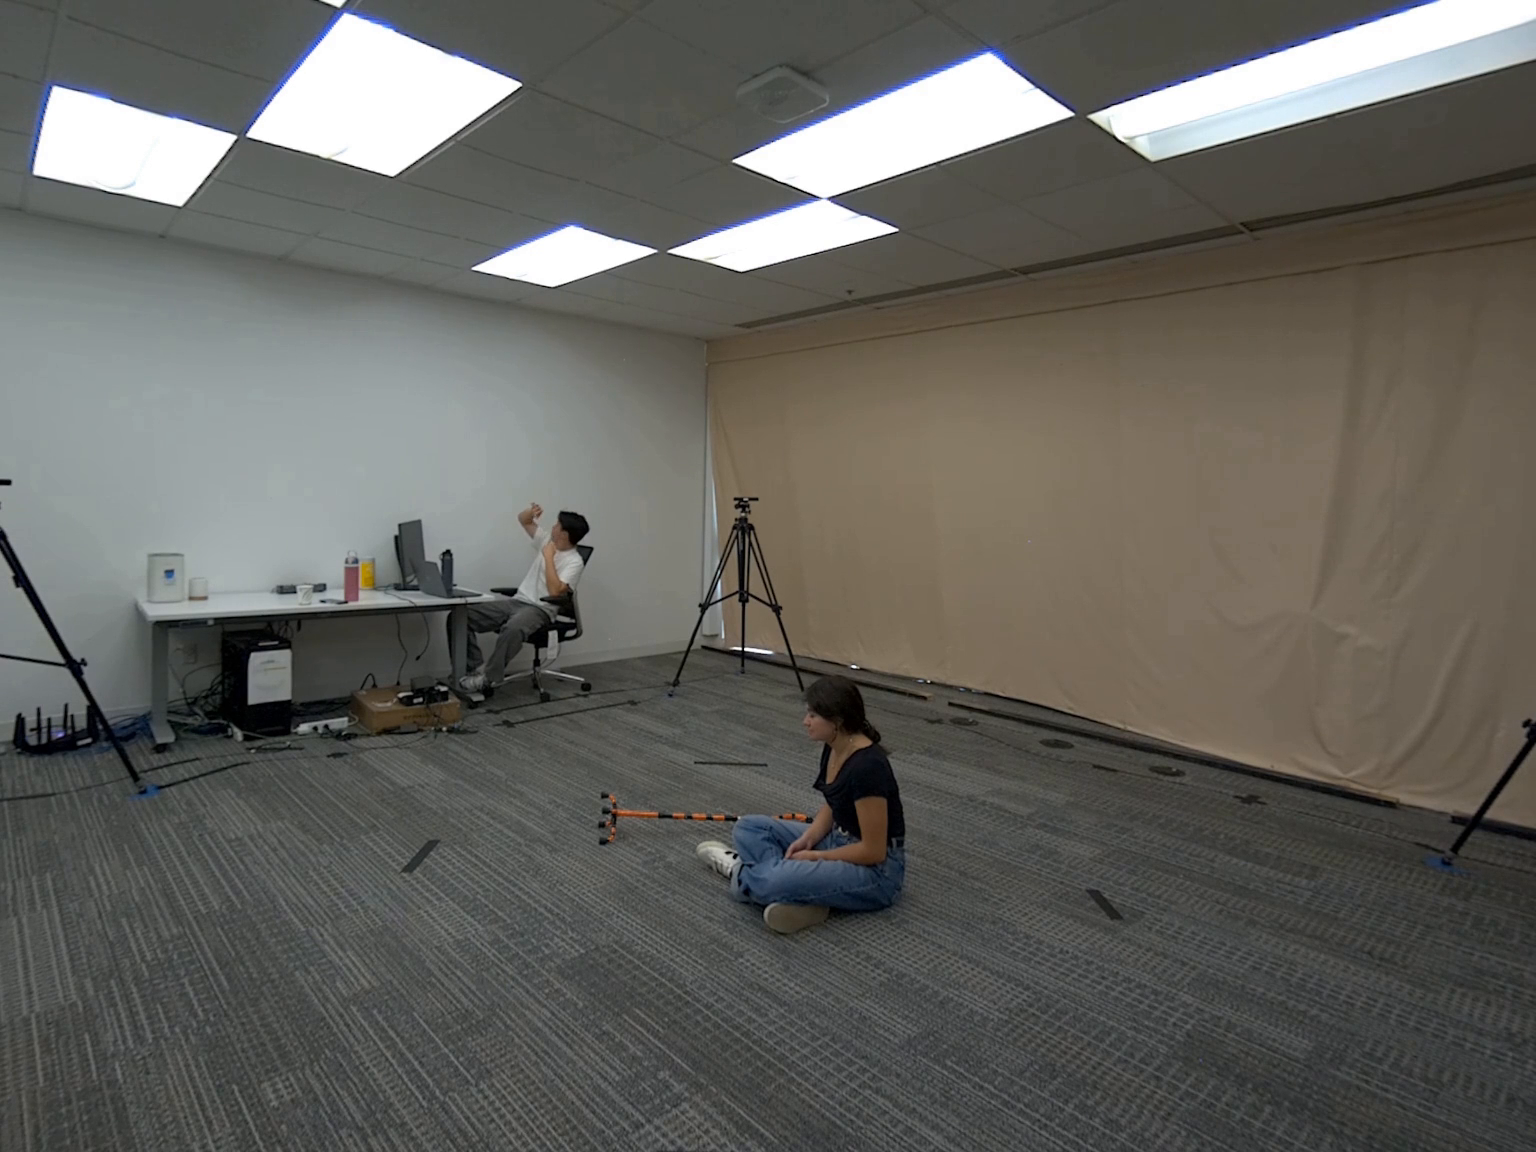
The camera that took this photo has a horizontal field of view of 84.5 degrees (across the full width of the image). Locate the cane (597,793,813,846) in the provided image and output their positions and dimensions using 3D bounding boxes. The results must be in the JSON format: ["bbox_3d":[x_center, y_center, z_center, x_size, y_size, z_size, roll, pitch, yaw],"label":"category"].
[{"bbox_3d":[-0.257,1.025,3.521,0.900,0.151,0.208,5,3,-10],"label":"cane"}]
